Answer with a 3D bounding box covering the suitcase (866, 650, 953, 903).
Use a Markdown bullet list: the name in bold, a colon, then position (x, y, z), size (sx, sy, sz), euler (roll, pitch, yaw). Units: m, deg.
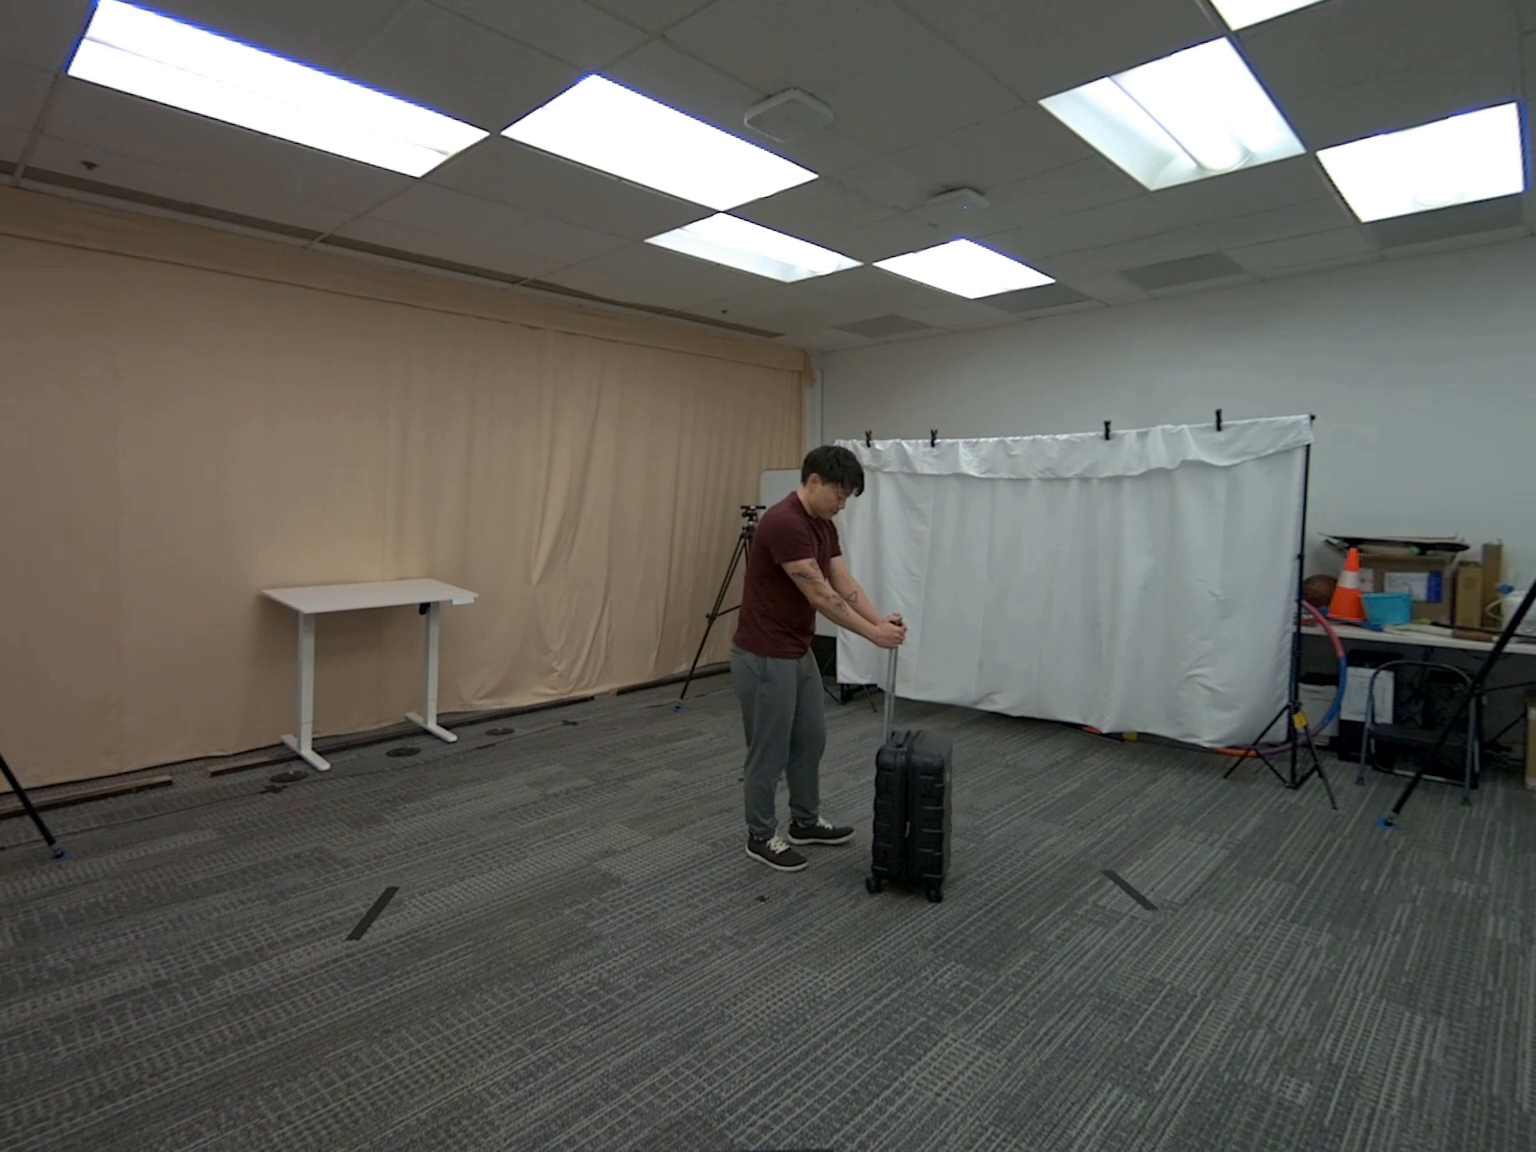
- **suitcase**: position (0.553, 0.659, 3.081), size (0.262, 0.976, 0.377), euler (5, 5, 18)
